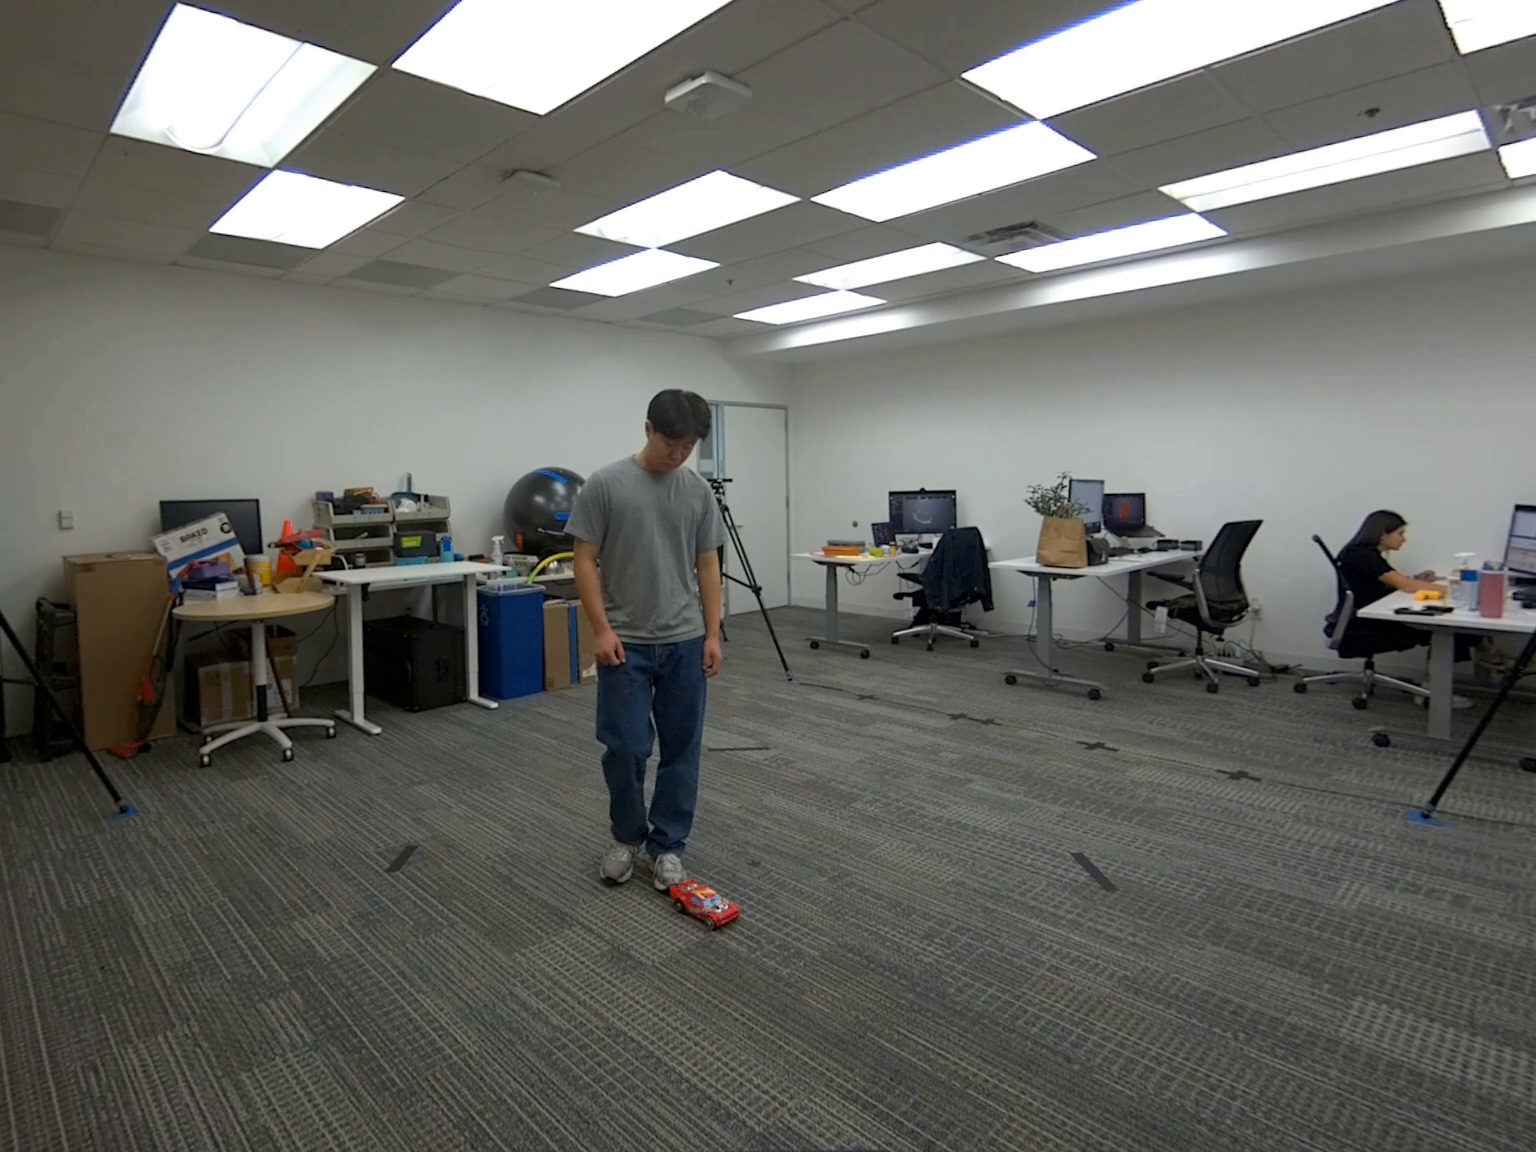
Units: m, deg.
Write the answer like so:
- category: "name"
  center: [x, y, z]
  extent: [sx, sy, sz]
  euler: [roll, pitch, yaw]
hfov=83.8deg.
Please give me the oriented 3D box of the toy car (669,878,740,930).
- category: "toy car"
  center: [-0.208, 1.055, 2.755]
  extent: [0.127, 0.082, 0.264]
  euler: [-8, 20, -44]
